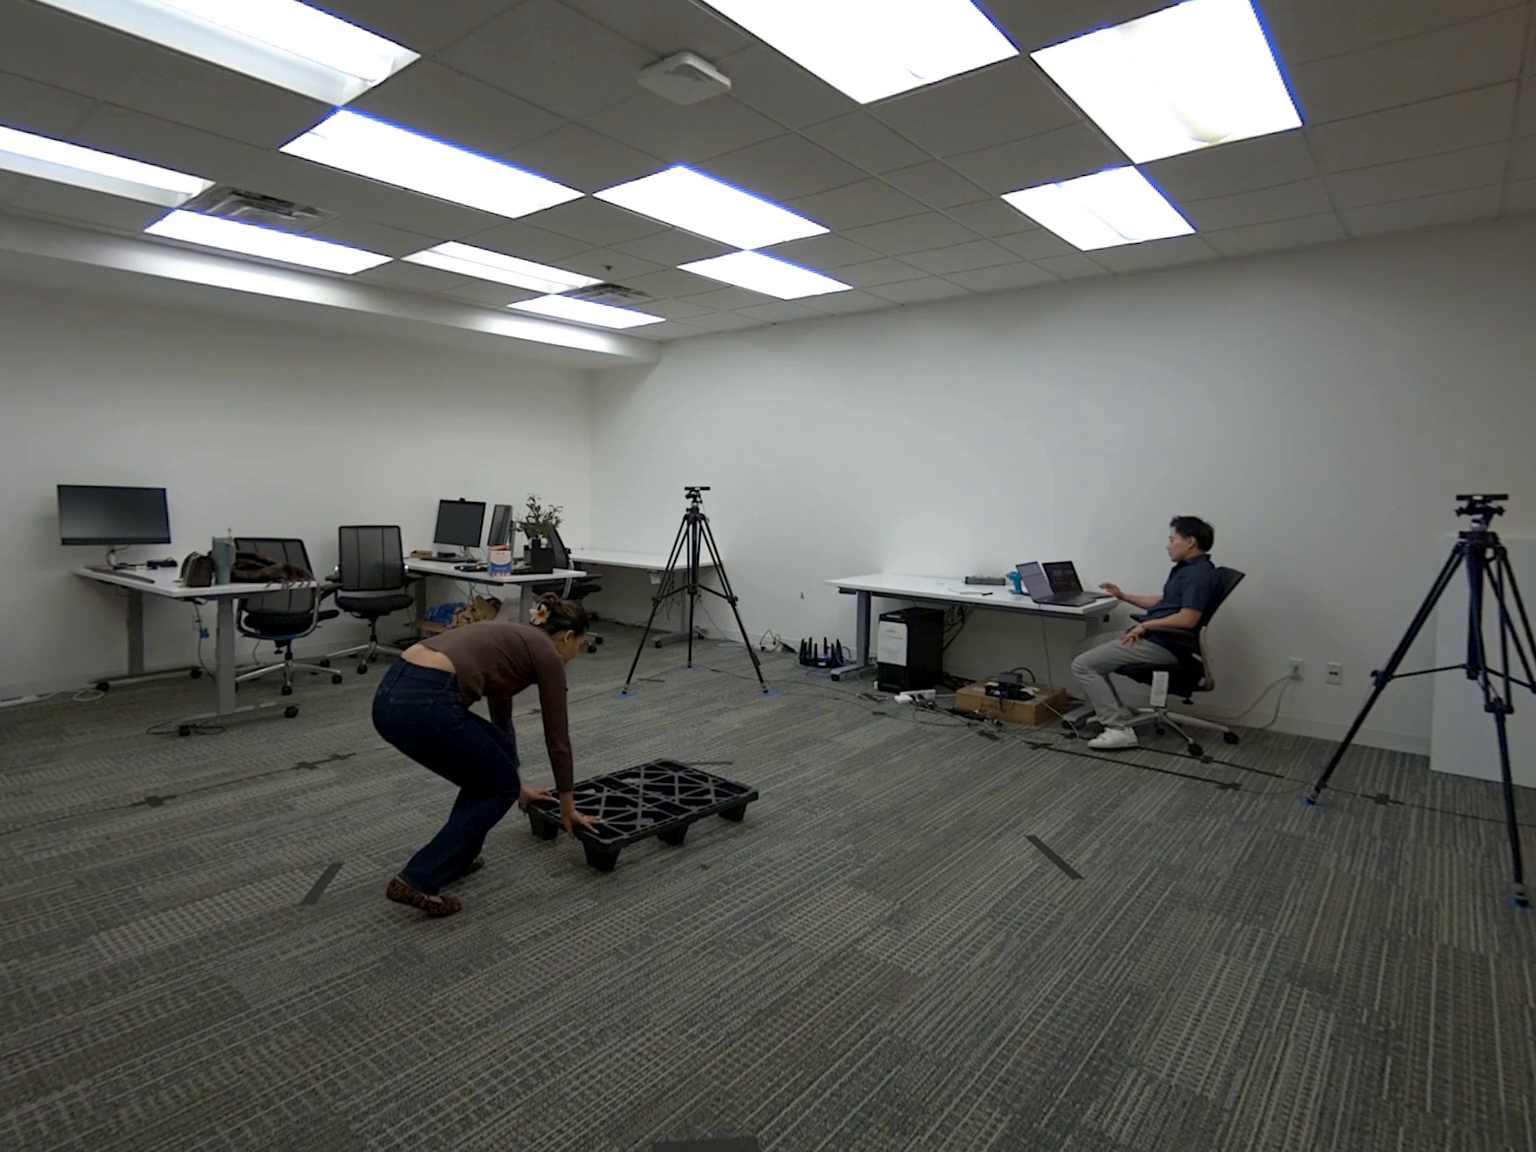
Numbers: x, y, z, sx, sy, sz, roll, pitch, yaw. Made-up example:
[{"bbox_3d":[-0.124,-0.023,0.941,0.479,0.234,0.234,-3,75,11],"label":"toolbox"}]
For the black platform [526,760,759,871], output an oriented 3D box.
[{"bbox_3d":[-0.538,0.956,3.477,0.626,0.143,0.781,5,7,43],"label":"black platform"}]
